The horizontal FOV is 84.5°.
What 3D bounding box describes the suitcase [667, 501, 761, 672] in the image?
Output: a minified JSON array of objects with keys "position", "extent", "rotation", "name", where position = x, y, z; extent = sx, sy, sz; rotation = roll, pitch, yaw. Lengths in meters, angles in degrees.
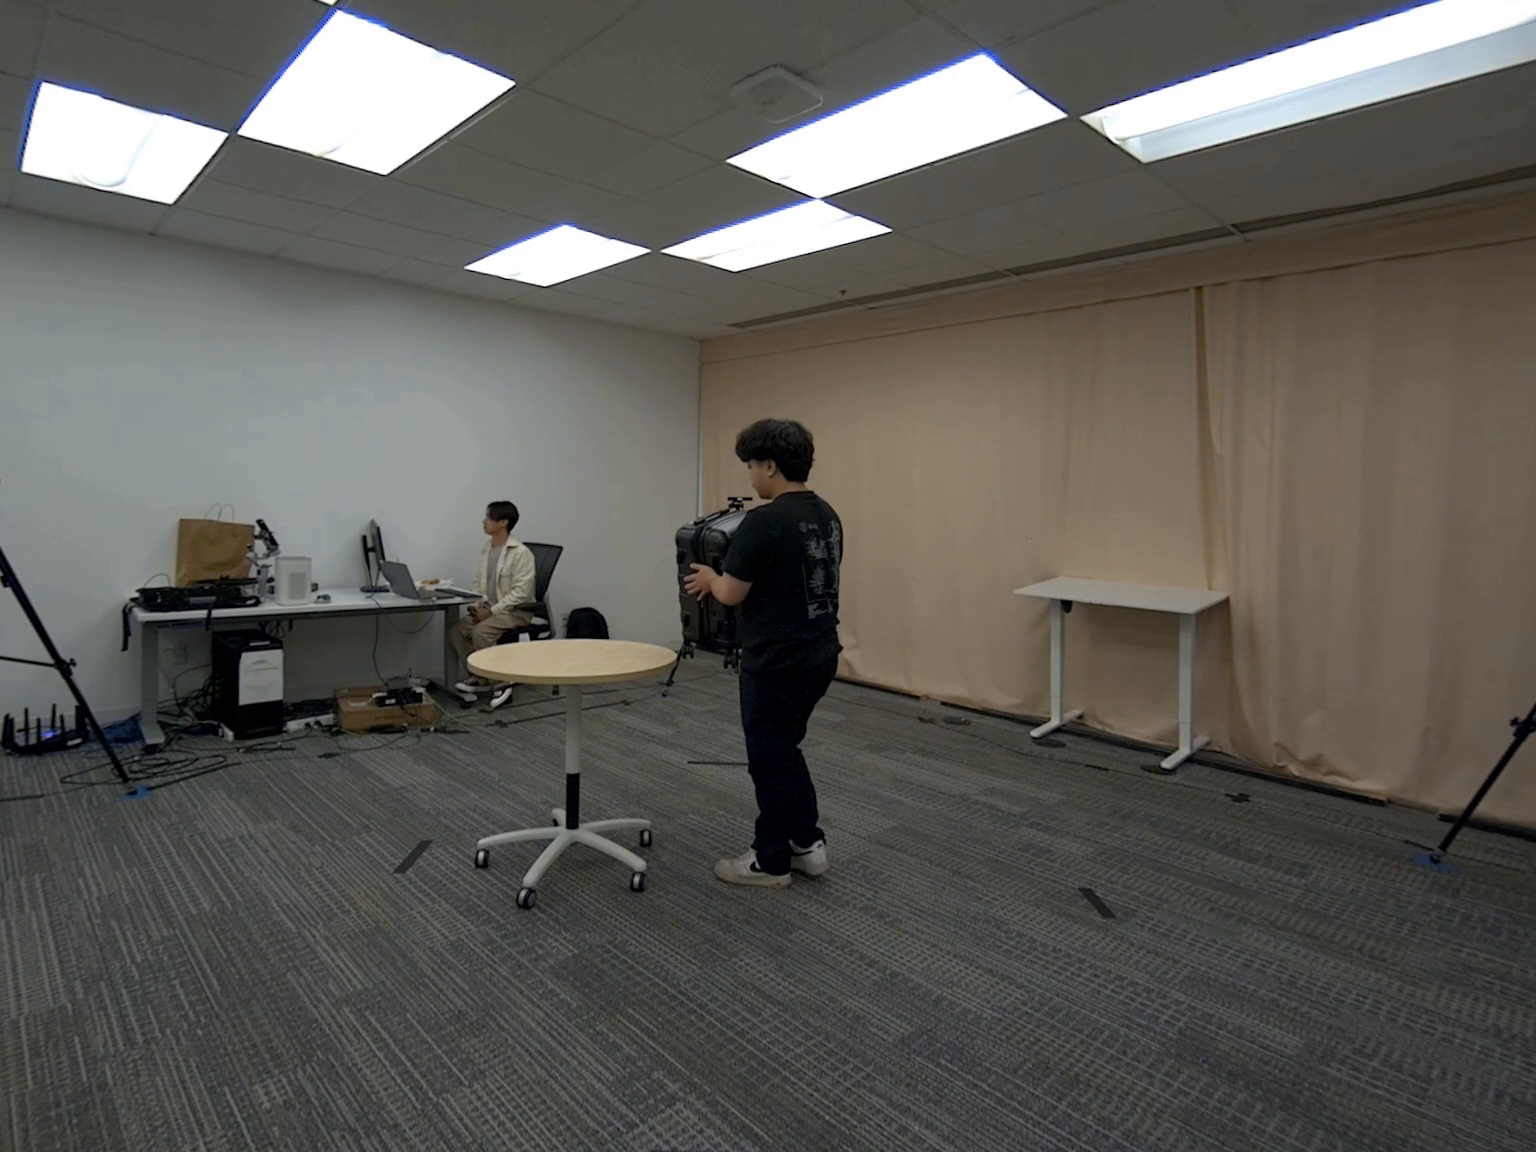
[{"position":[-0.162,0.024,3.326],"extent":[0.254,0.542,0.370],"rotation":[9,20,34],"name":"suitcase"}]
